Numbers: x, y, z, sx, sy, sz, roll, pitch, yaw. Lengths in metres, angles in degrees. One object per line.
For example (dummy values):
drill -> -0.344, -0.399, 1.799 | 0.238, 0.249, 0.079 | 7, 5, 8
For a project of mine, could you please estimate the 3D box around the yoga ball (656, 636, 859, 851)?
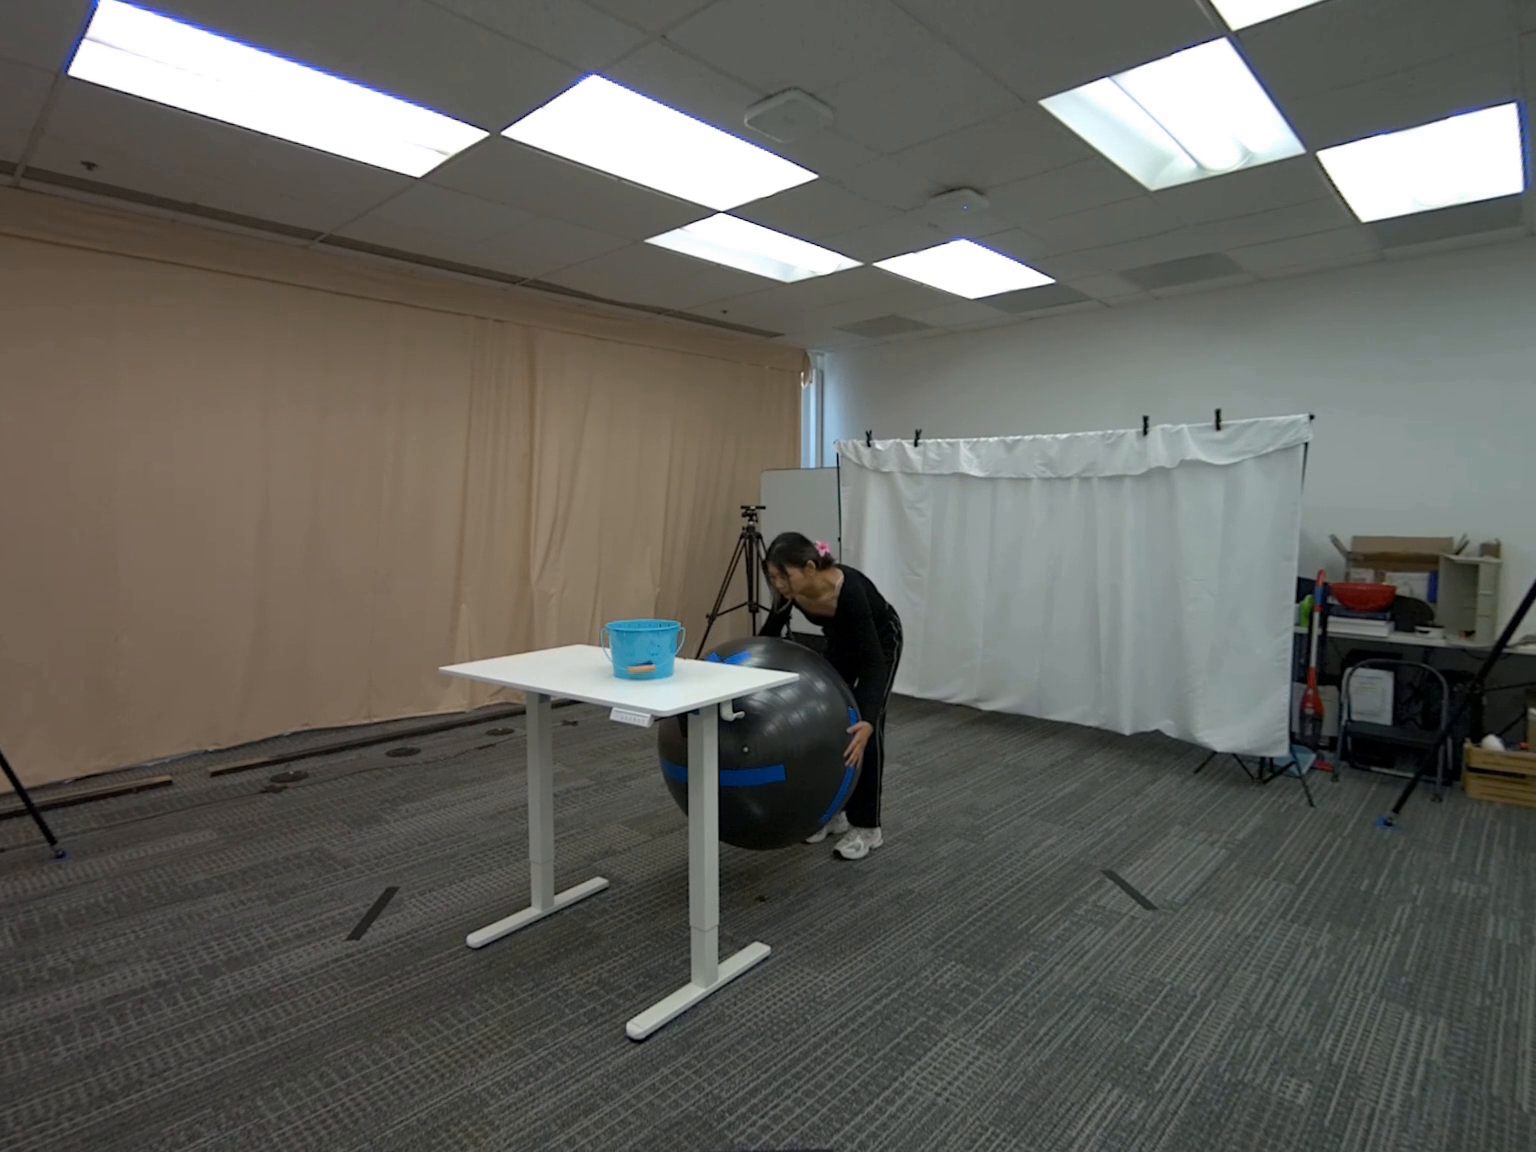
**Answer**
yoga ball -> -0.027, 0.613, 3.107 | 0.757, 0.756, 0.761 | 0, 4, -2
